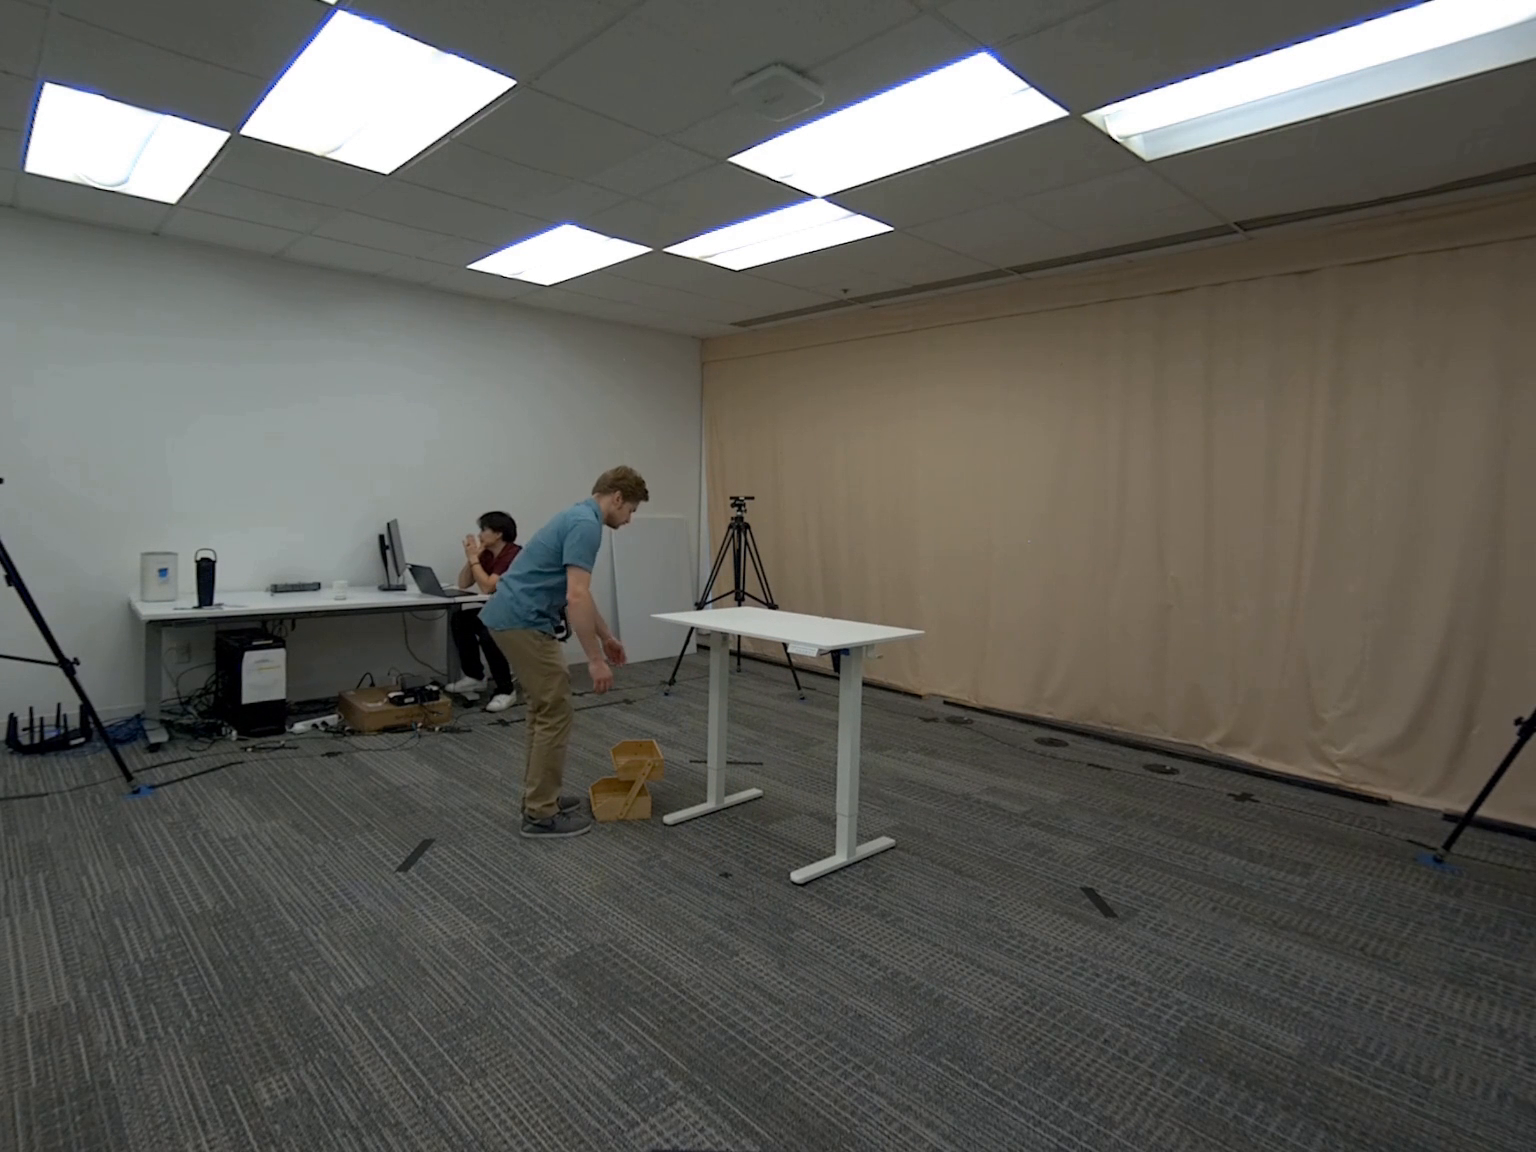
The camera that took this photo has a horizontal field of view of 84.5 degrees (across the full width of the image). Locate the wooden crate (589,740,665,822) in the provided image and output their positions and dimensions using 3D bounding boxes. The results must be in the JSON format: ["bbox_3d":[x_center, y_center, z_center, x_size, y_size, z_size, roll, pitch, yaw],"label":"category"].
[{"bbox_3d":[-0.652,0.899,3.762,0.299,0.273,0.329,1,4,-14],"label":"wooden crate"}]
